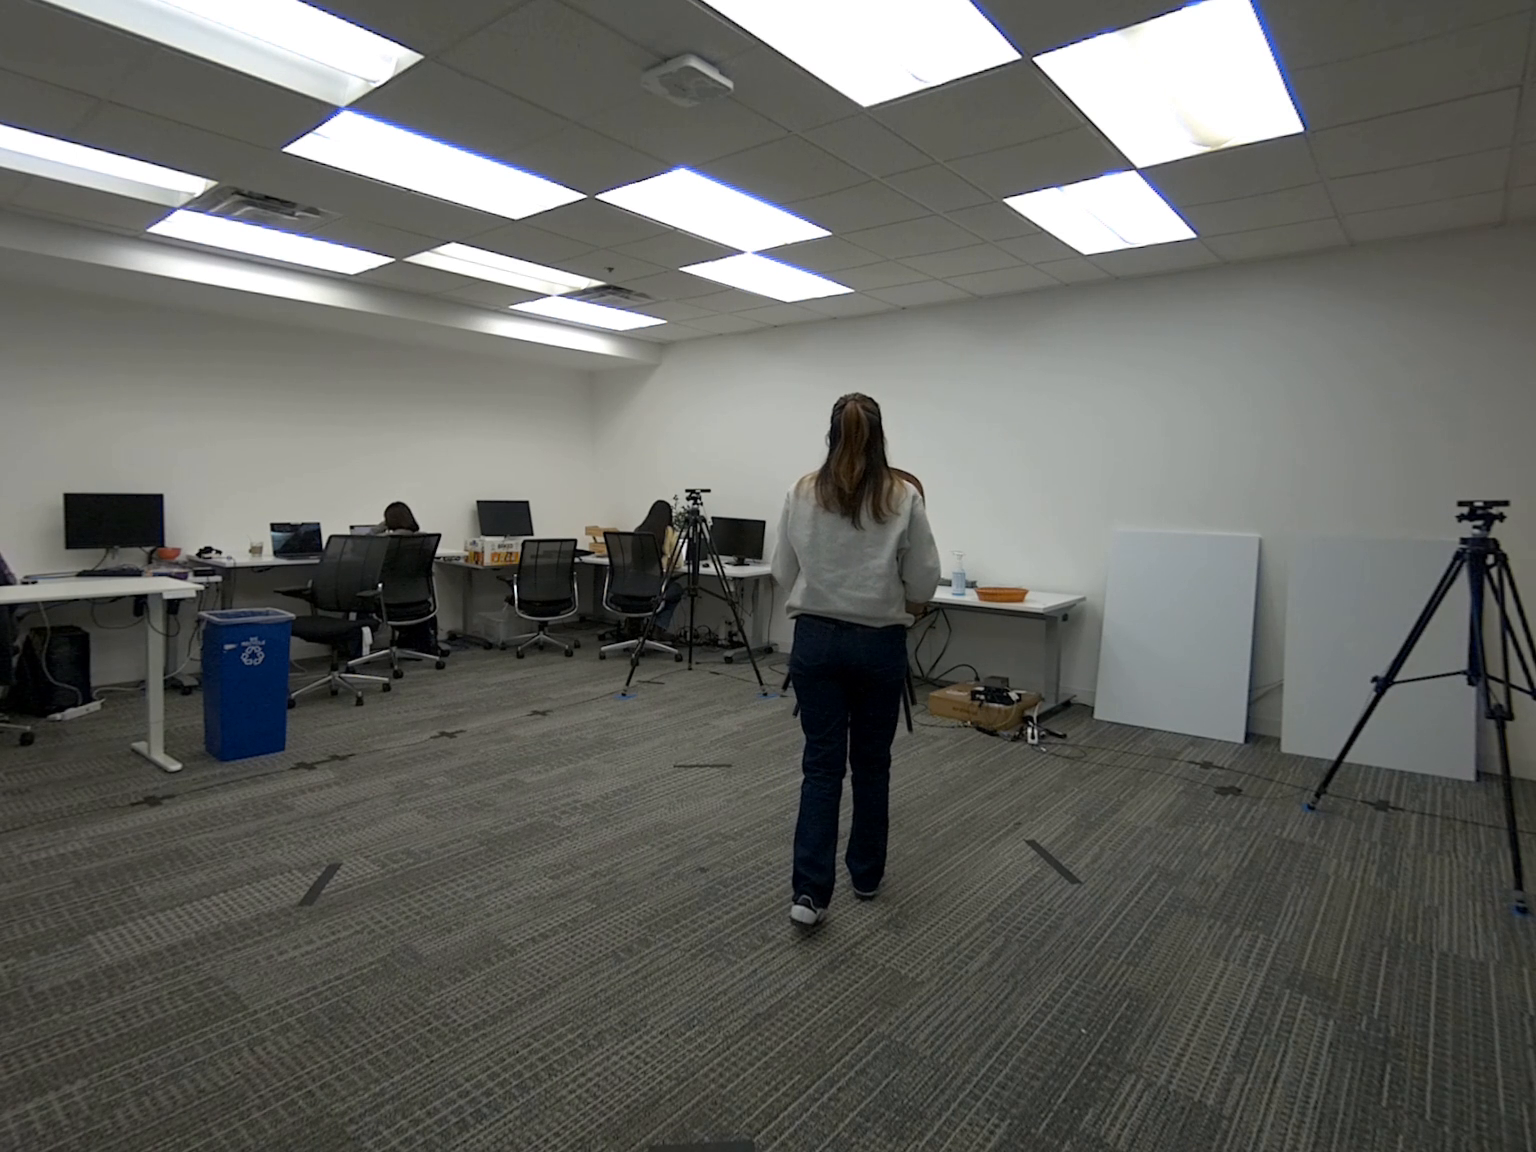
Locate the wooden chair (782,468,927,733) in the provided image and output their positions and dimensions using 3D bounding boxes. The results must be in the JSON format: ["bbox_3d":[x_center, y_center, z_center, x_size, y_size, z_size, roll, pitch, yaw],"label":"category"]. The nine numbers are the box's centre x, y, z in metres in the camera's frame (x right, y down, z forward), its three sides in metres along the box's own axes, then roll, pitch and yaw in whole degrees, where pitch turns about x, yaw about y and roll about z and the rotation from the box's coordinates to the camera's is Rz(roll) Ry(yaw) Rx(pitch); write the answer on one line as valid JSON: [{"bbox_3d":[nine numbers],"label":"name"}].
[{"bbox_3d":[0.329,0.087,3.178,0.485,0.890,0.509,3,-17,11],"label":"wooden chair"}]
